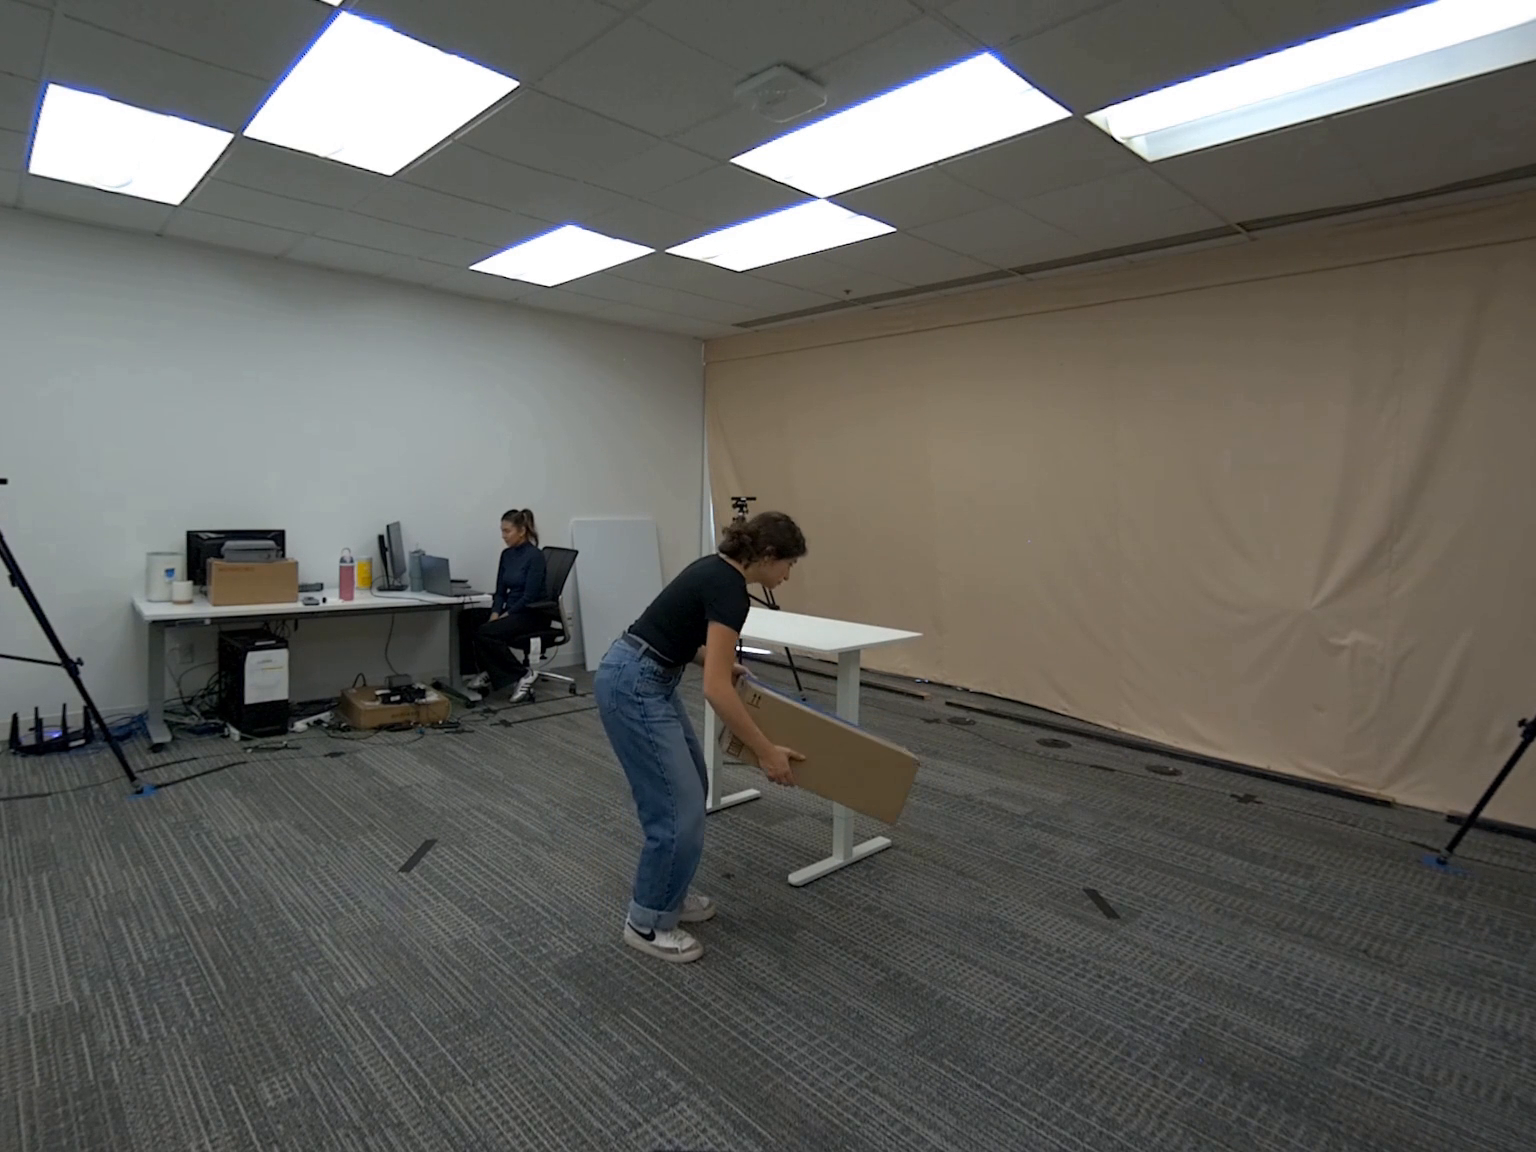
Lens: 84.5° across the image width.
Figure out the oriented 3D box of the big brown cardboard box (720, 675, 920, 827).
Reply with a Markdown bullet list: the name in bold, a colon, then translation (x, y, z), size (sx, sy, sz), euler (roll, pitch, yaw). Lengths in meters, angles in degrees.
- **big brown cardboard box**: translation (0.139, 0.545, 2.700), size (0.589, 0.233, 0.417), euler (25, -4, -1)
